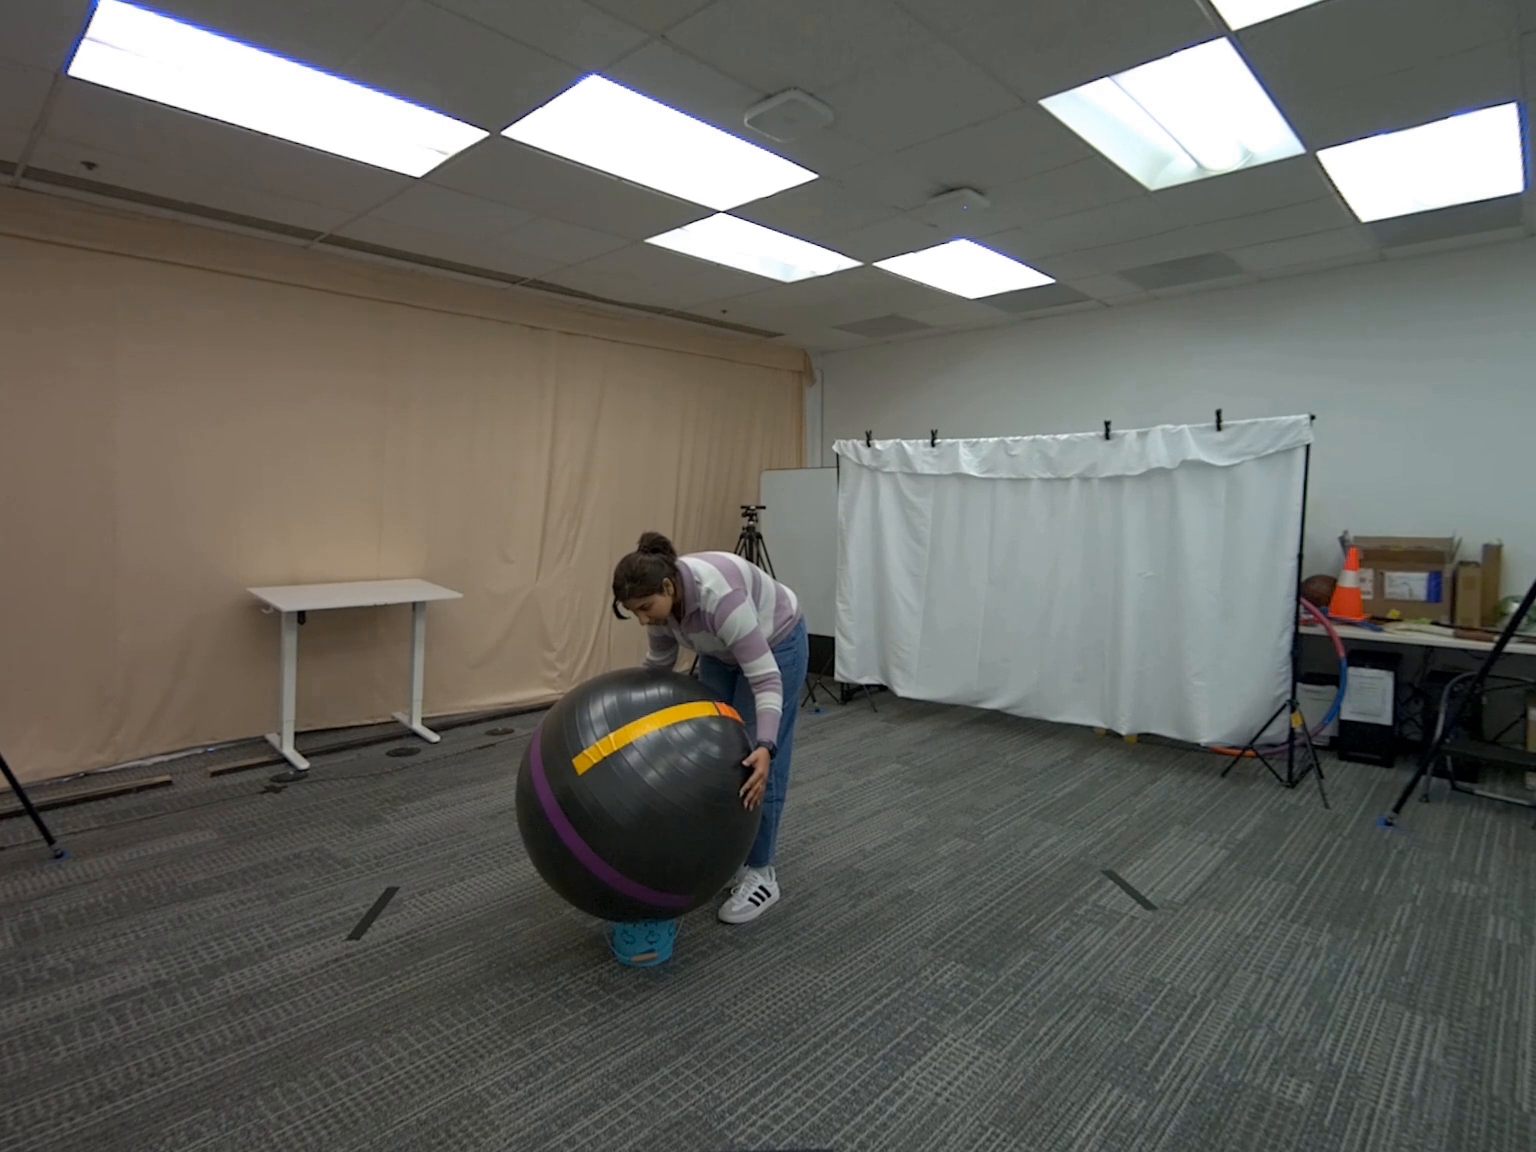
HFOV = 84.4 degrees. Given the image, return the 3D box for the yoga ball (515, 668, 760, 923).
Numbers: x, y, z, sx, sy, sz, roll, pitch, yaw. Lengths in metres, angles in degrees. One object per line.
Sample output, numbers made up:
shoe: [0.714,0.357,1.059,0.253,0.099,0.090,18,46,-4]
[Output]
yoga ball: [-0.403,0.674,2.604,0.757,0.756,0.761,0,4,-2]
